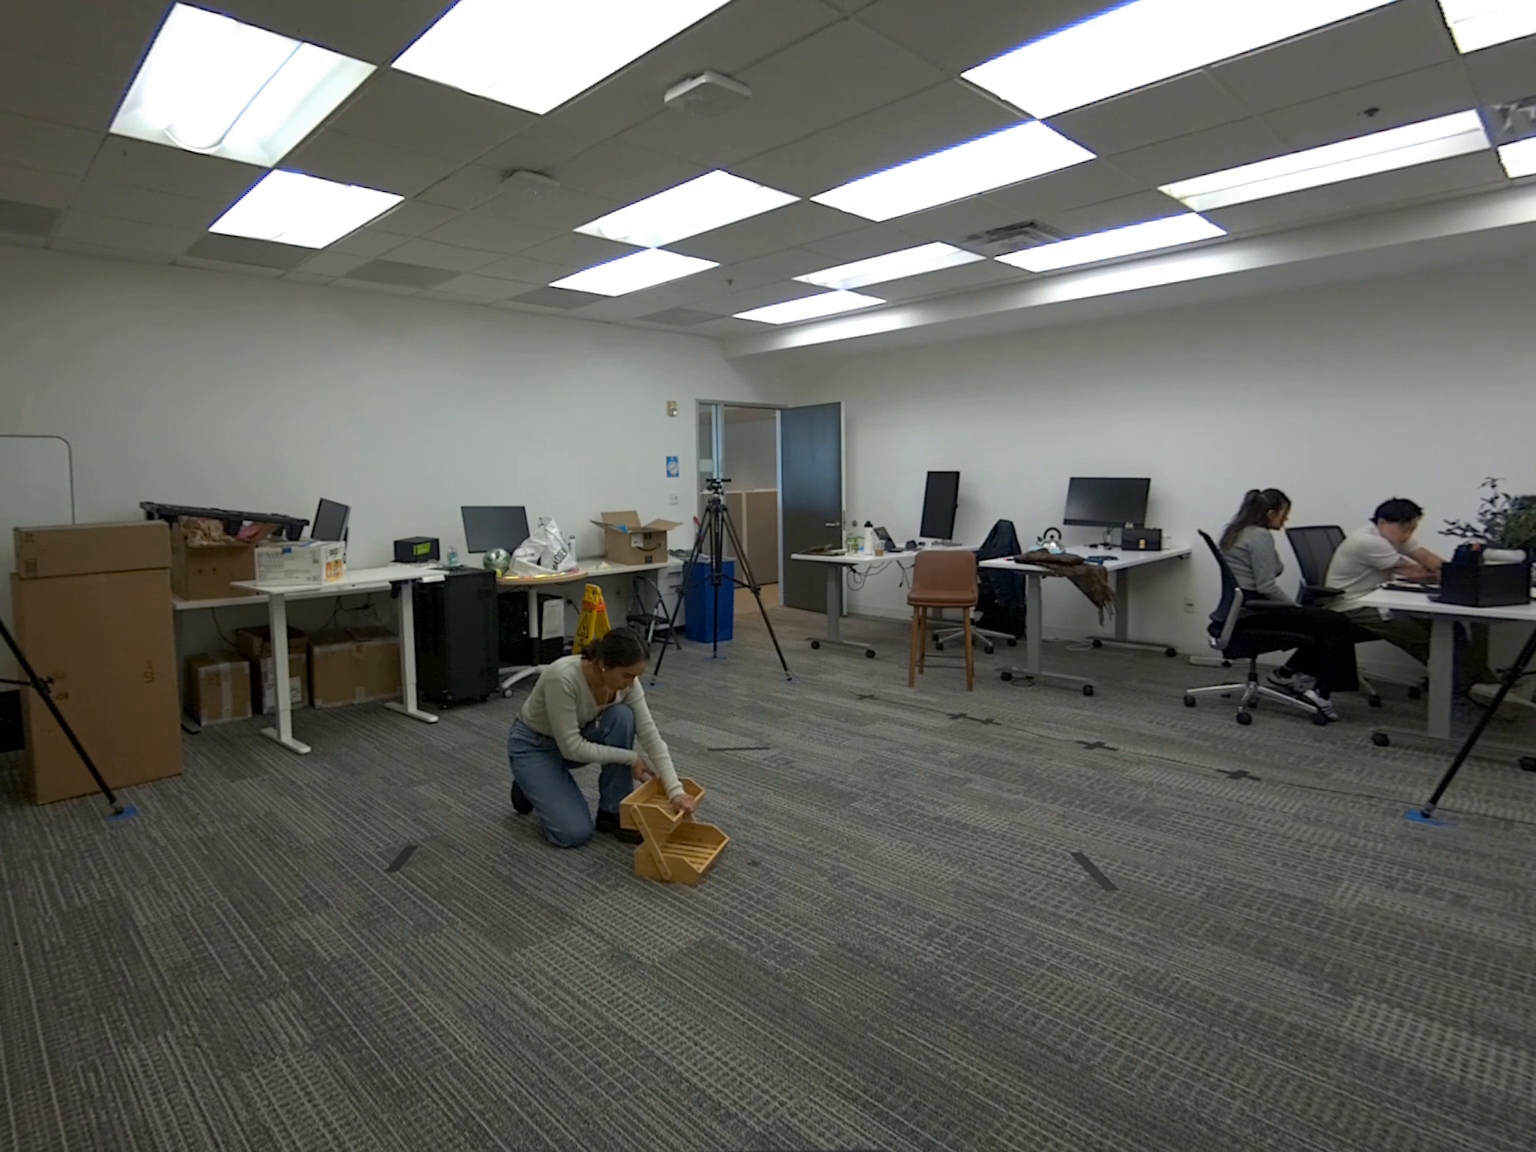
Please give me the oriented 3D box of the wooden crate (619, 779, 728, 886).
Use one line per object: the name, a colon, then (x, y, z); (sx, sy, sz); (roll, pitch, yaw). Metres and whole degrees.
wooden crate: (-0.328, 0.910, 3.114); (0.307, 0.272, 0.320); (0, 5, 19)
